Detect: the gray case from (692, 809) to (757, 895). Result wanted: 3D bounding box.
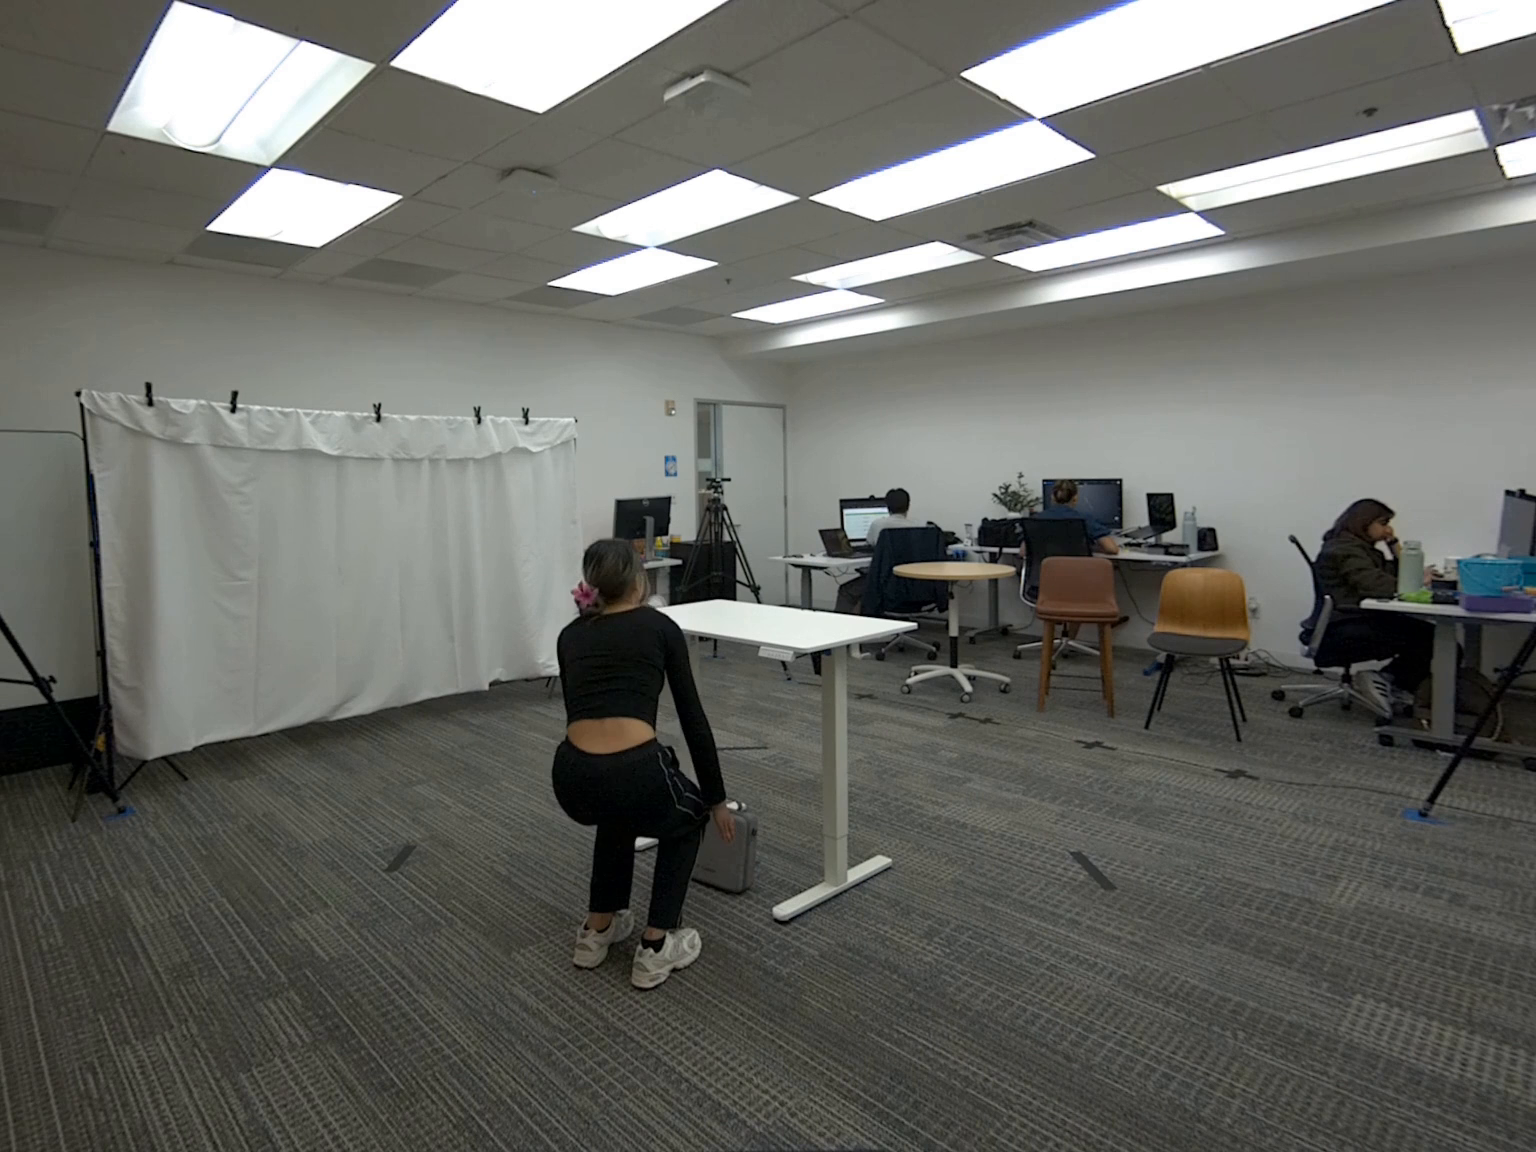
[{"bbox_3d":[-0.152,0.927,2.964,0.264,0.262,0.101,1,-10,40],"label":"gray case"}]
